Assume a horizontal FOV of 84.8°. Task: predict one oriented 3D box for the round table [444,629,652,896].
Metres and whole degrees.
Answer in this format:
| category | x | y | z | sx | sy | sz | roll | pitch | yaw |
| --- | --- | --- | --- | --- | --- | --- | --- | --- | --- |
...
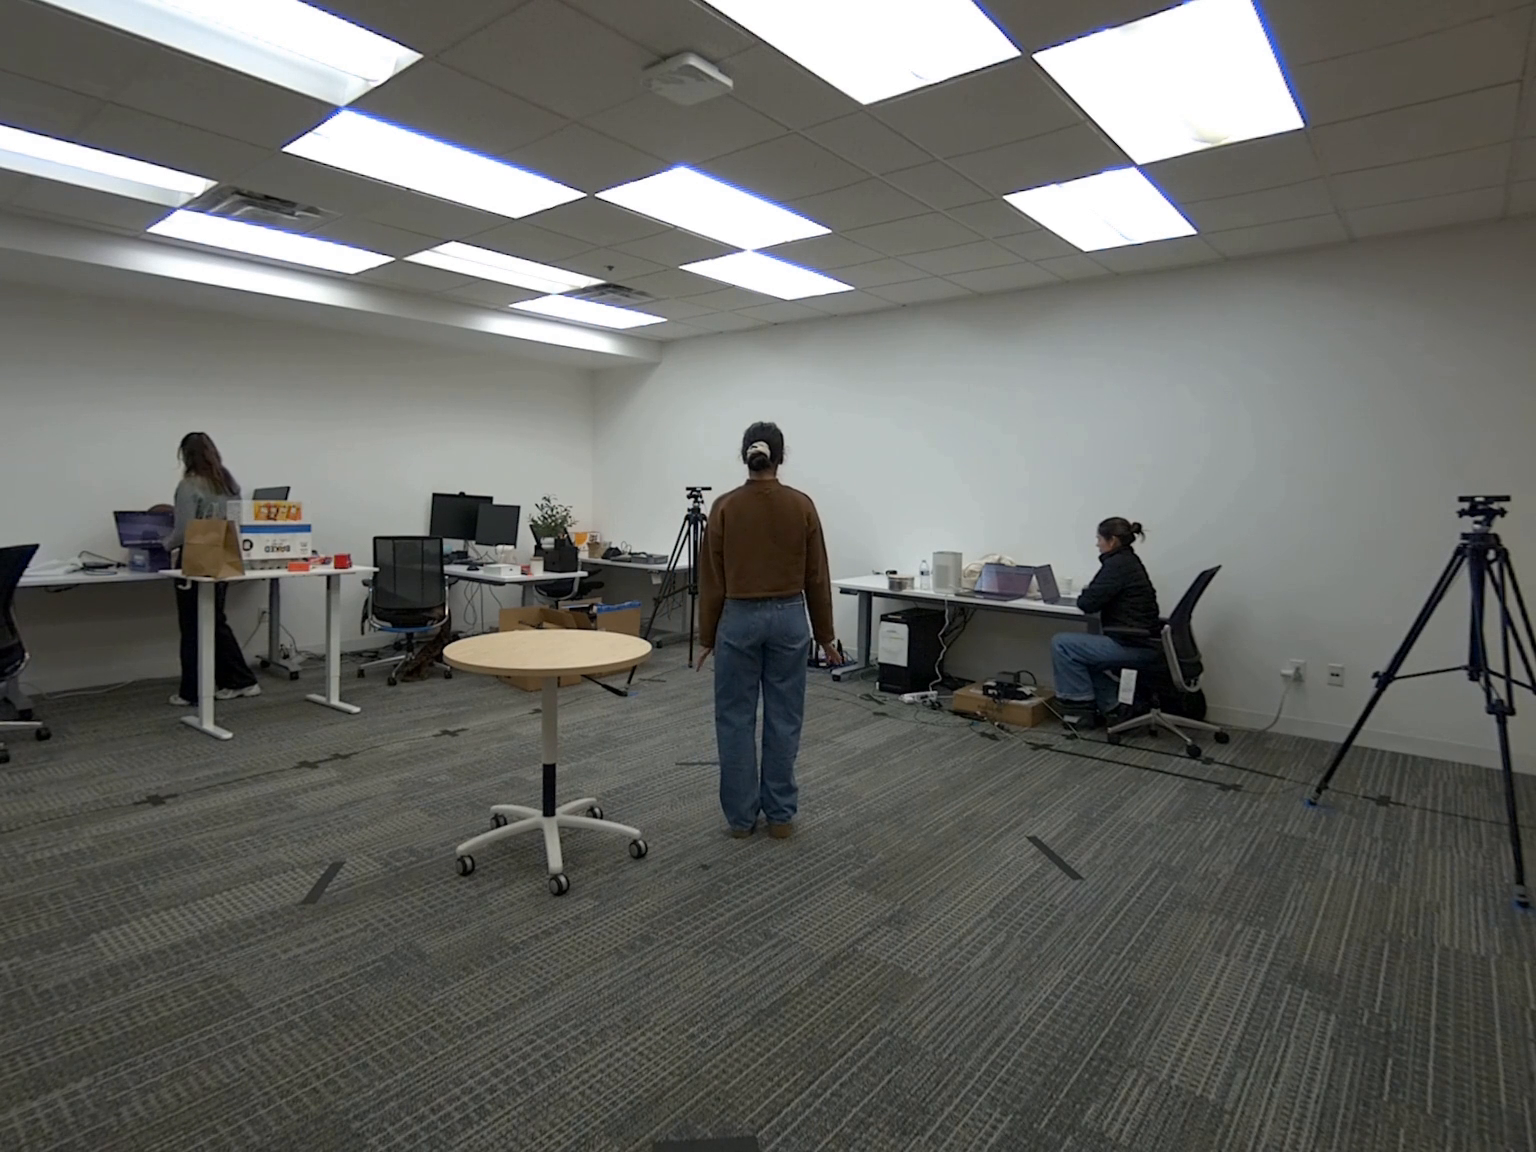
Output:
| category | x | y | z | sx | sy | sz | roll | pitch | yaw |
| --- | --- | --- | --- | --- | --- | --- | --- | --- | --- |
| round table | -0.850 | 0.656 | 3.207 | 0.784 | 0.784 | 0.789 | 1 | 4 | -2 |
